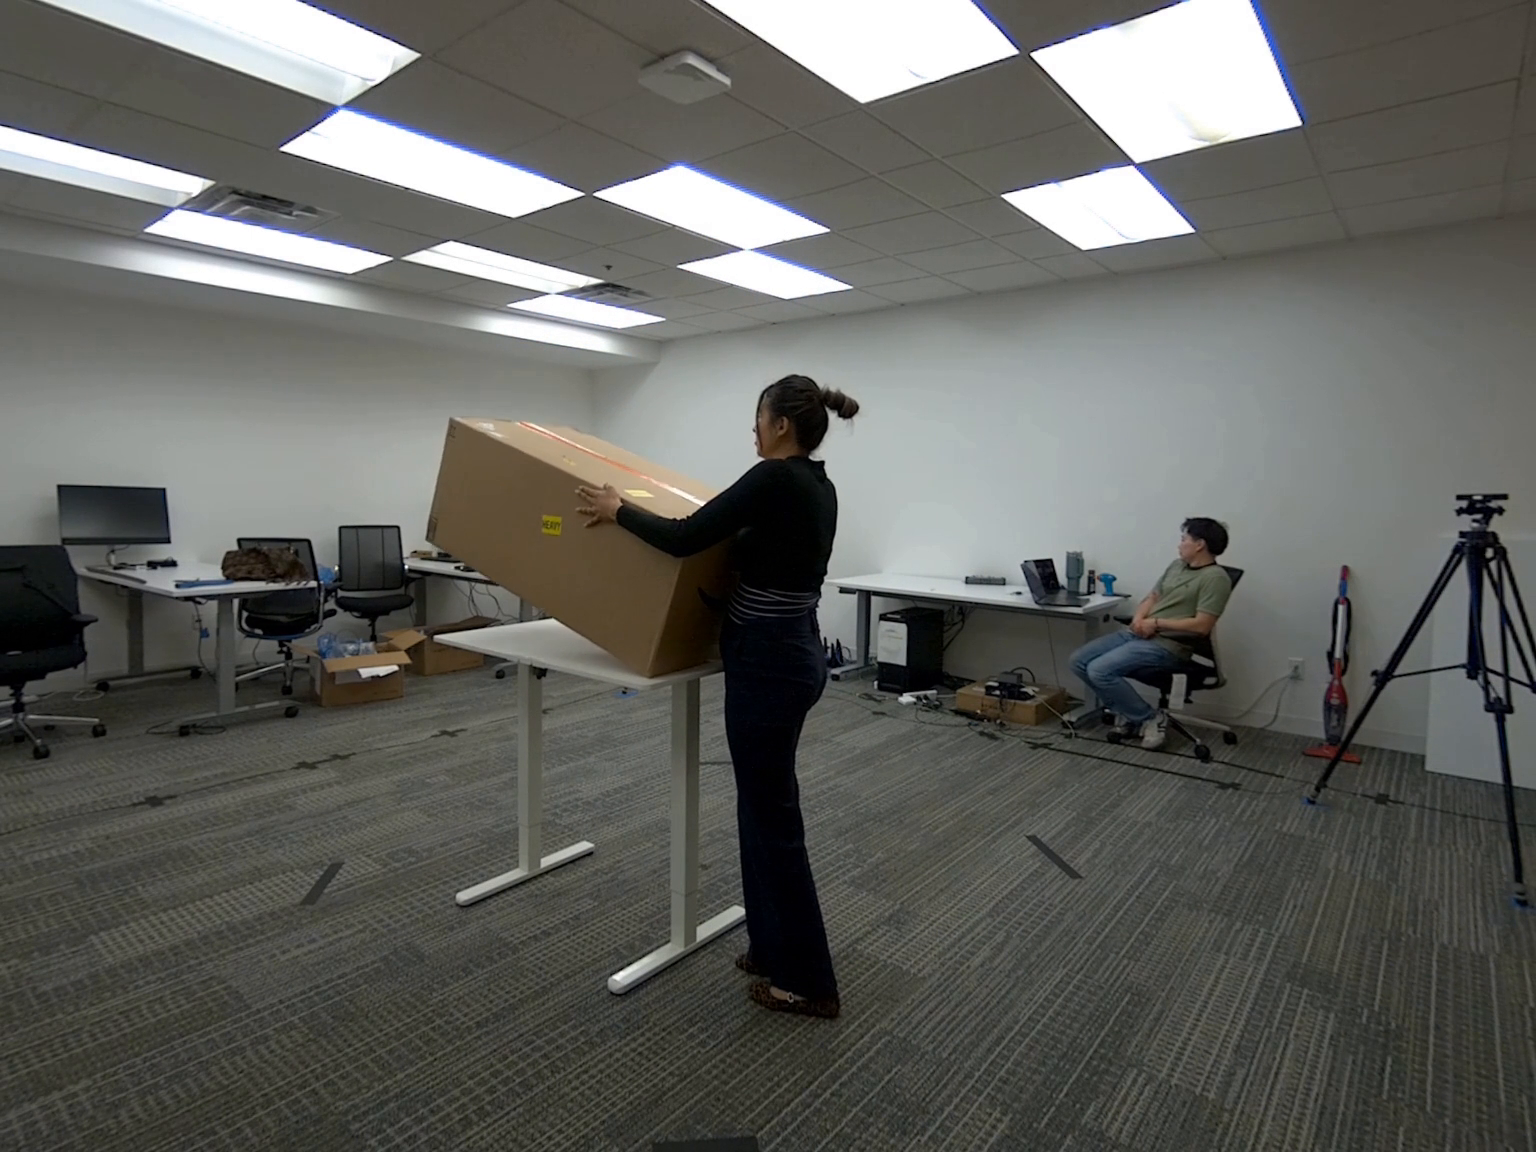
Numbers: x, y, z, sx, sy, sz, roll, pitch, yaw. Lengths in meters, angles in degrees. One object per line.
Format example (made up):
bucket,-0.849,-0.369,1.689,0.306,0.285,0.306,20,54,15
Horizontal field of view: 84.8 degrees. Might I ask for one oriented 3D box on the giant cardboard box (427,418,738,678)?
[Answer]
giant cardboard box,-0.526,-0.134,2.717,1.064,0.422,0.561,26,17,30
